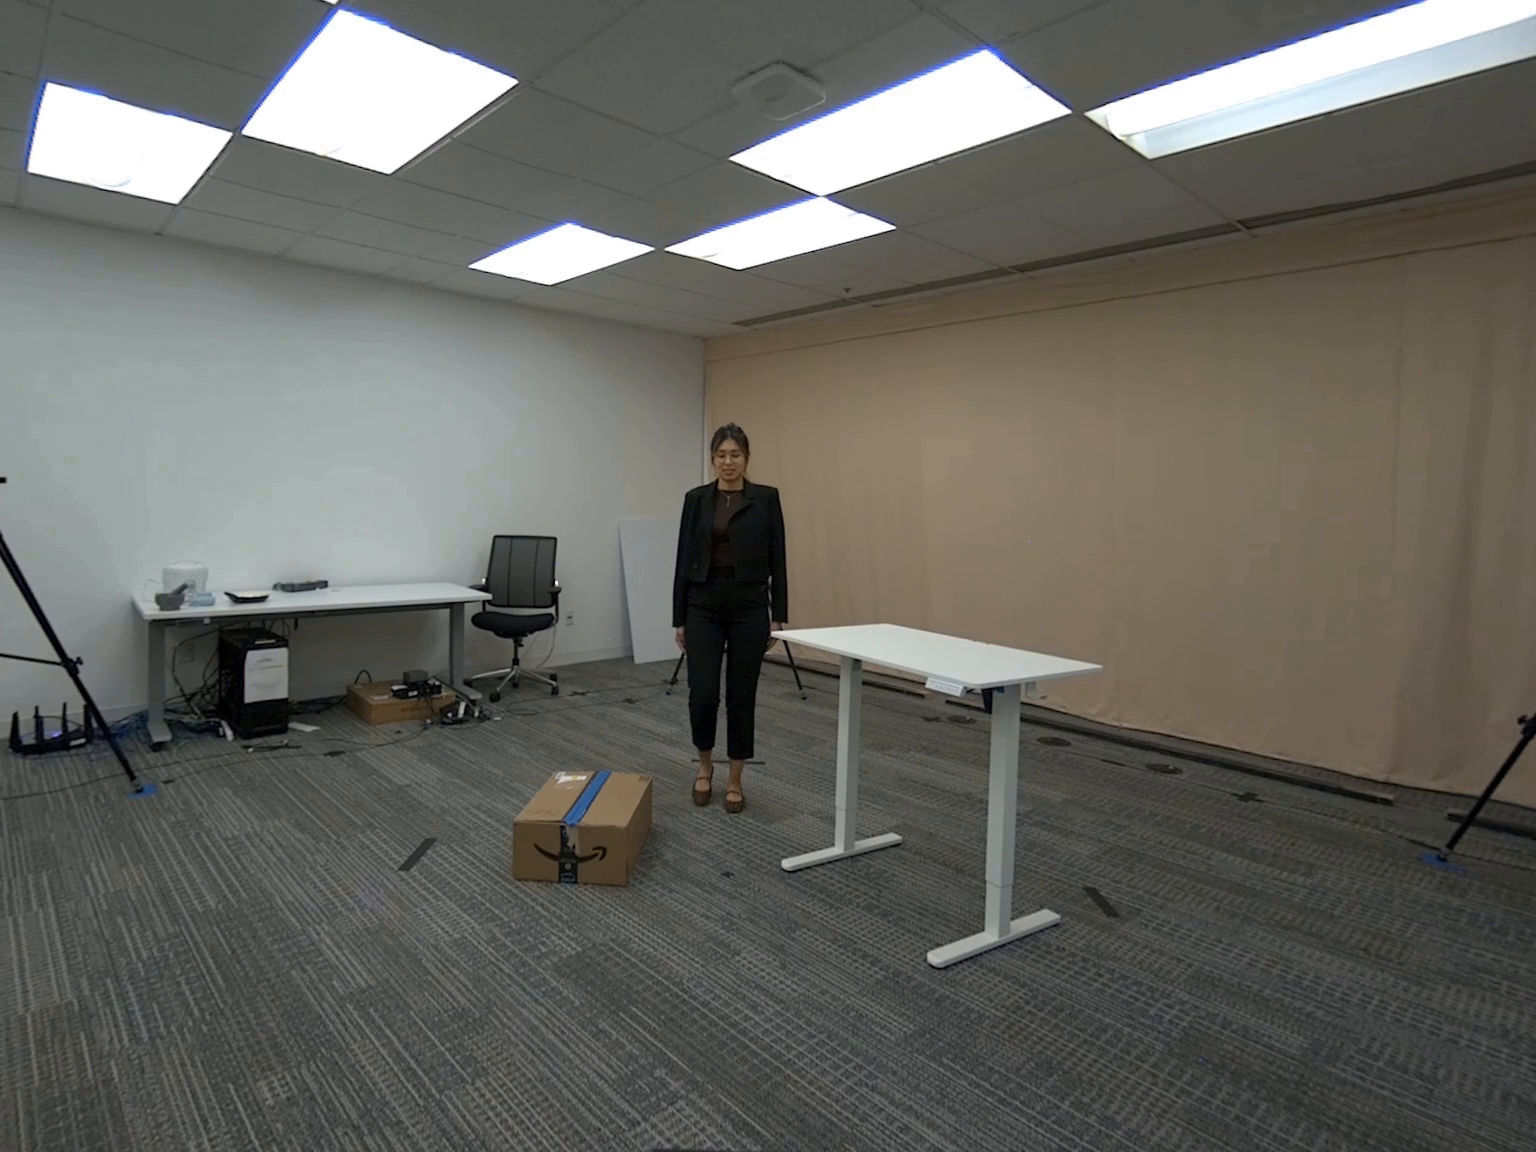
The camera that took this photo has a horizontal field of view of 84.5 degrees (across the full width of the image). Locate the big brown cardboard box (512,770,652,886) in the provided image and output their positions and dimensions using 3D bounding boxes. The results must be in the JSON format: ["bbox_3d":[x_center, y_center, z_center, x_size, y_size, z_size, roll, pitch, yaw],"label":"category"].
[{"bbox_3d":[-0.710,0.962,3.277,0.418,0.232,0.590,1,6,2],"label":"big brown cardboard box"}]
